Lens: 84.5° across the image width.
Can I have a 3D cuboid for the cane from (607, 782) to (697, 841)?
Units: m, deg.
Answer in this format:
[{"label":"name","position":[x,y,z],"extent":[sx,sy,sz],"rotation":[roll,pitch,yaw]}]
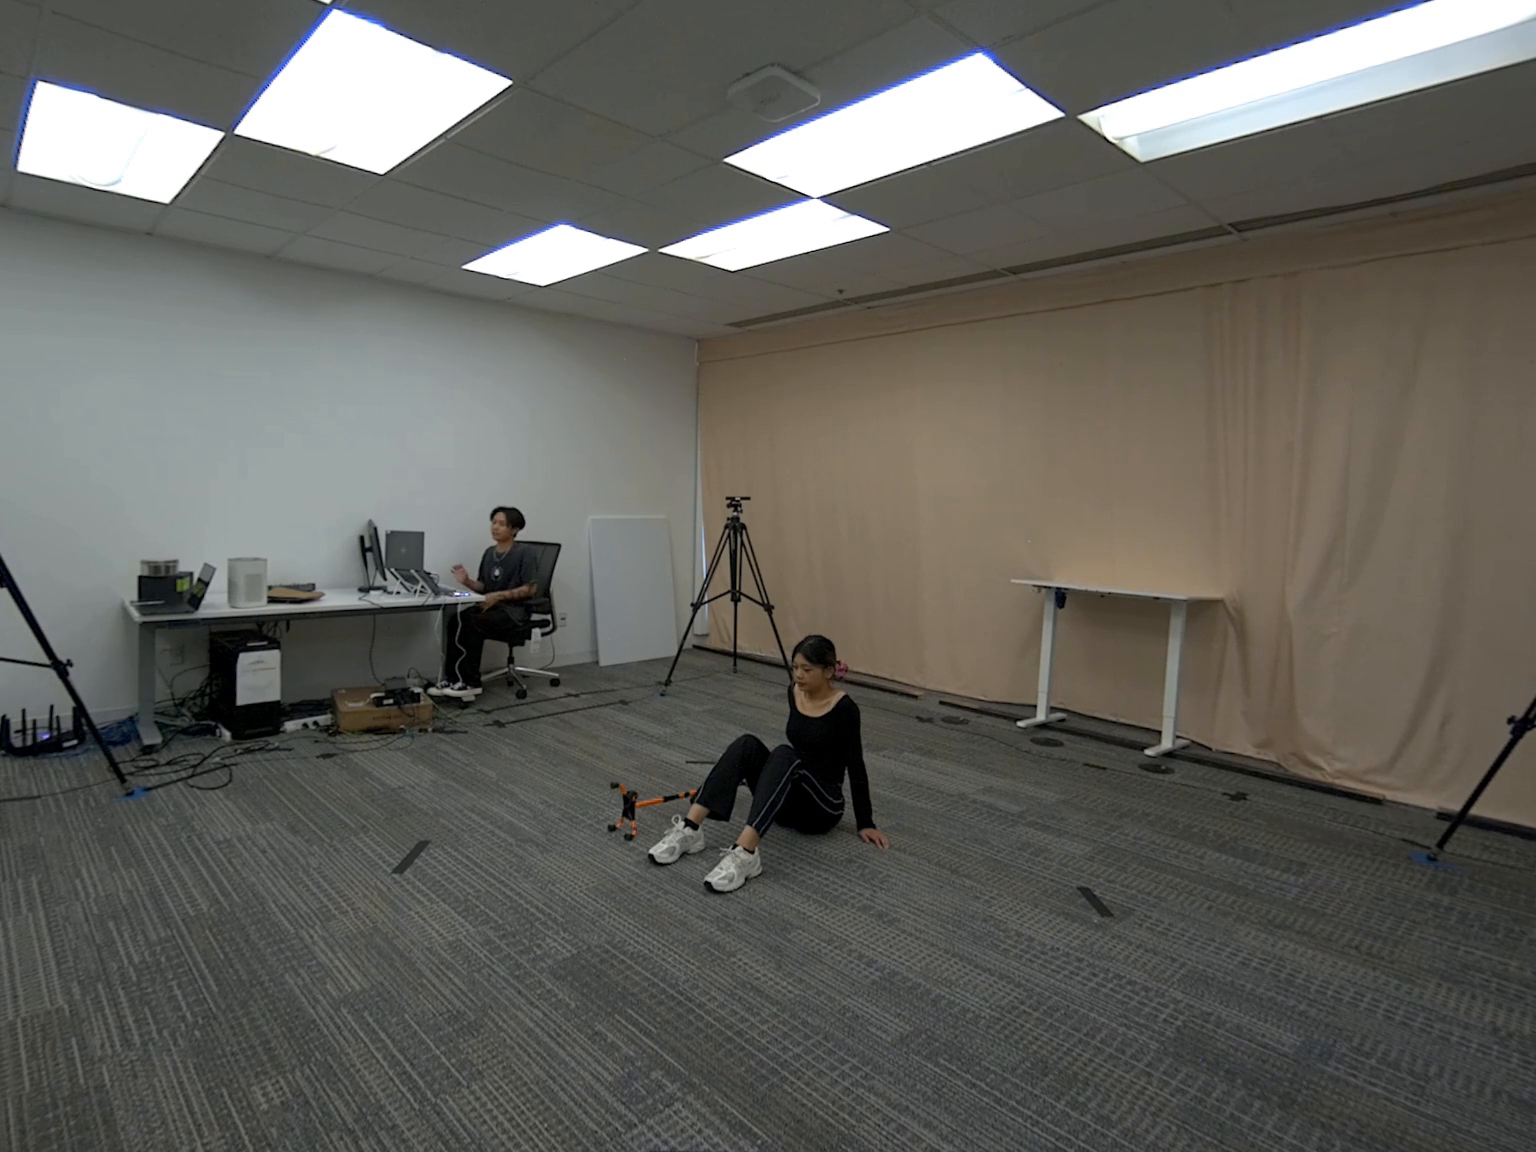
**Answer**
[{"label":"cane","position":[-0.292,0.954,3.744],"extent":[0.886,0.206,0.155],"rotation":[0,3,-42]}]
